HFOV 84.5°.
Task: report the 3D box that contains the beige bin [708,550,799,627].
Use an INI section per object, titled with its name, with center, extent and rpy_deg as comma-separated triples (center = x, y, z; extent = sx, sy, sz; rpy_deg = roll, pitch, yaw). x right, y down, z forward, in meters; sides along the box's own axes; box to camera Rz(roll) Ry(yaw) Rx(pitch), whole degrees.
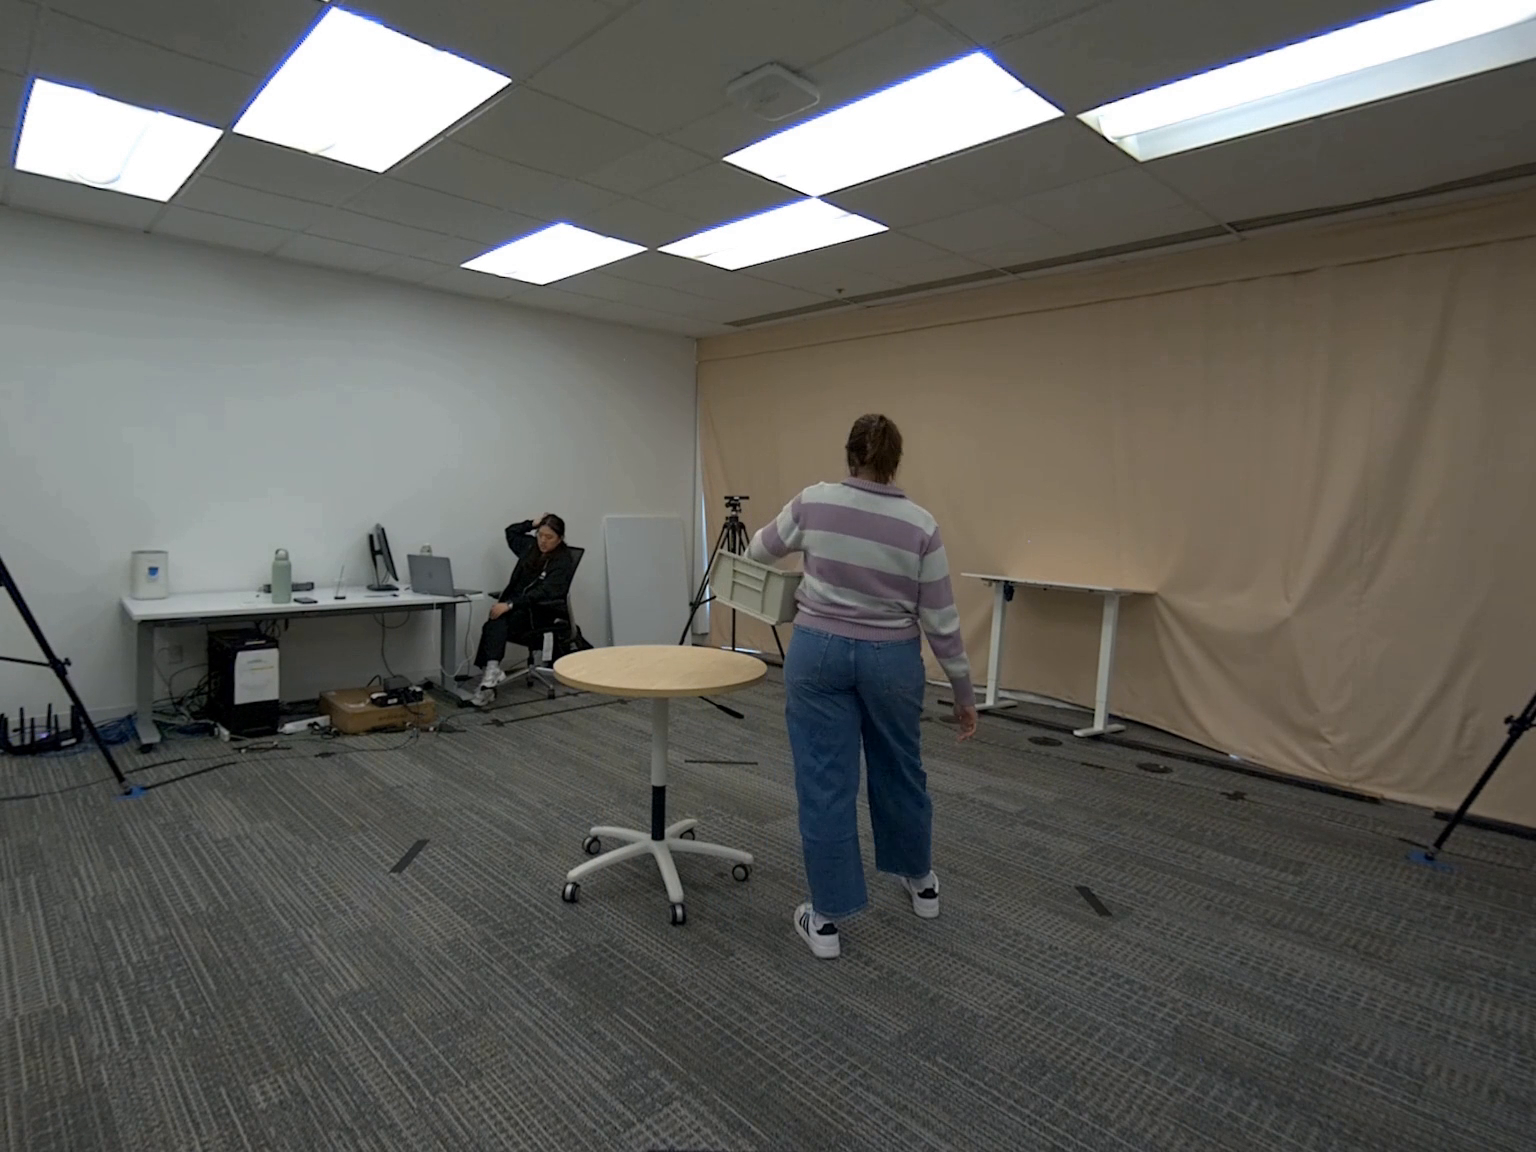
[beige bin]
center = 0.073, 0.026, 2.920
extent = 0.412, 0.188, 0.389
rpy_deg = 2, 14, -40
